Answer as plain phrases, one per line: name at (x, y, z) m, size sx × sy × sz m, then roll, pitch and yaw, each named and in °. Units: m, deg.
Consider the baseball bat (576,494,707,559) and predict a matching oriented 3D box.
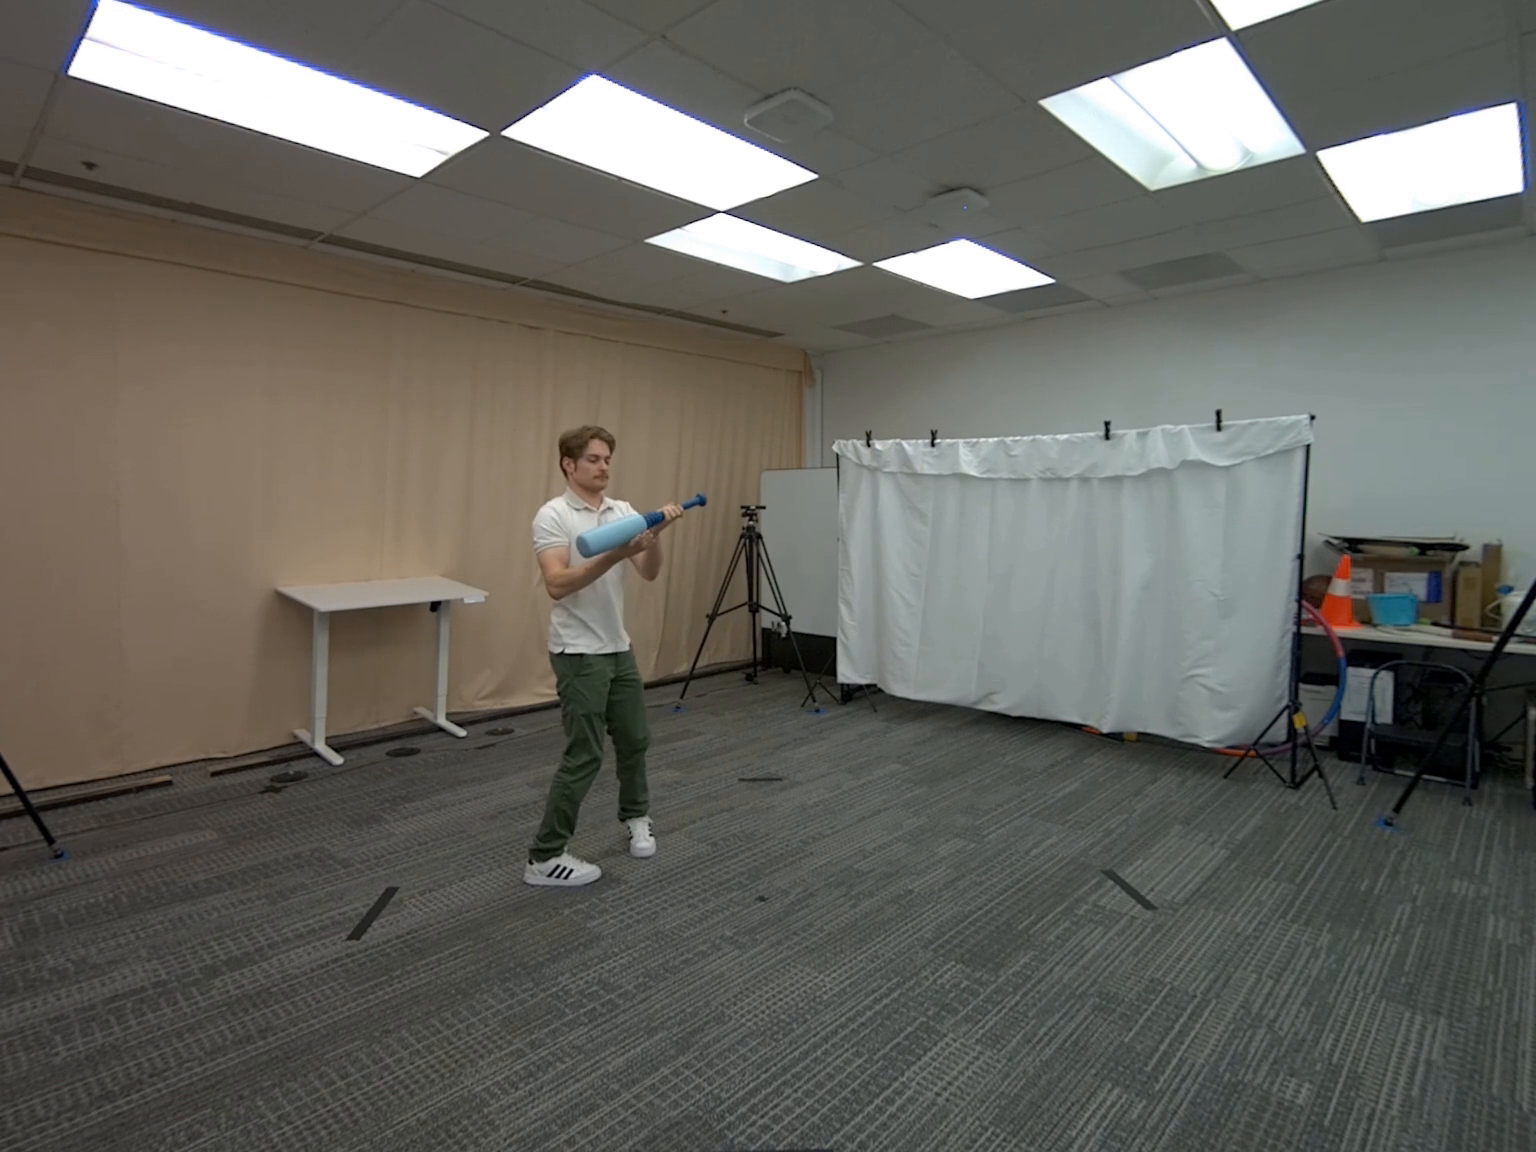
baseball bat at (-0.418, -0.187, 2.902) m, size 0.532 × 0.088 × 0.092 m, roll -27°, pitch 20°, yaw -38°
